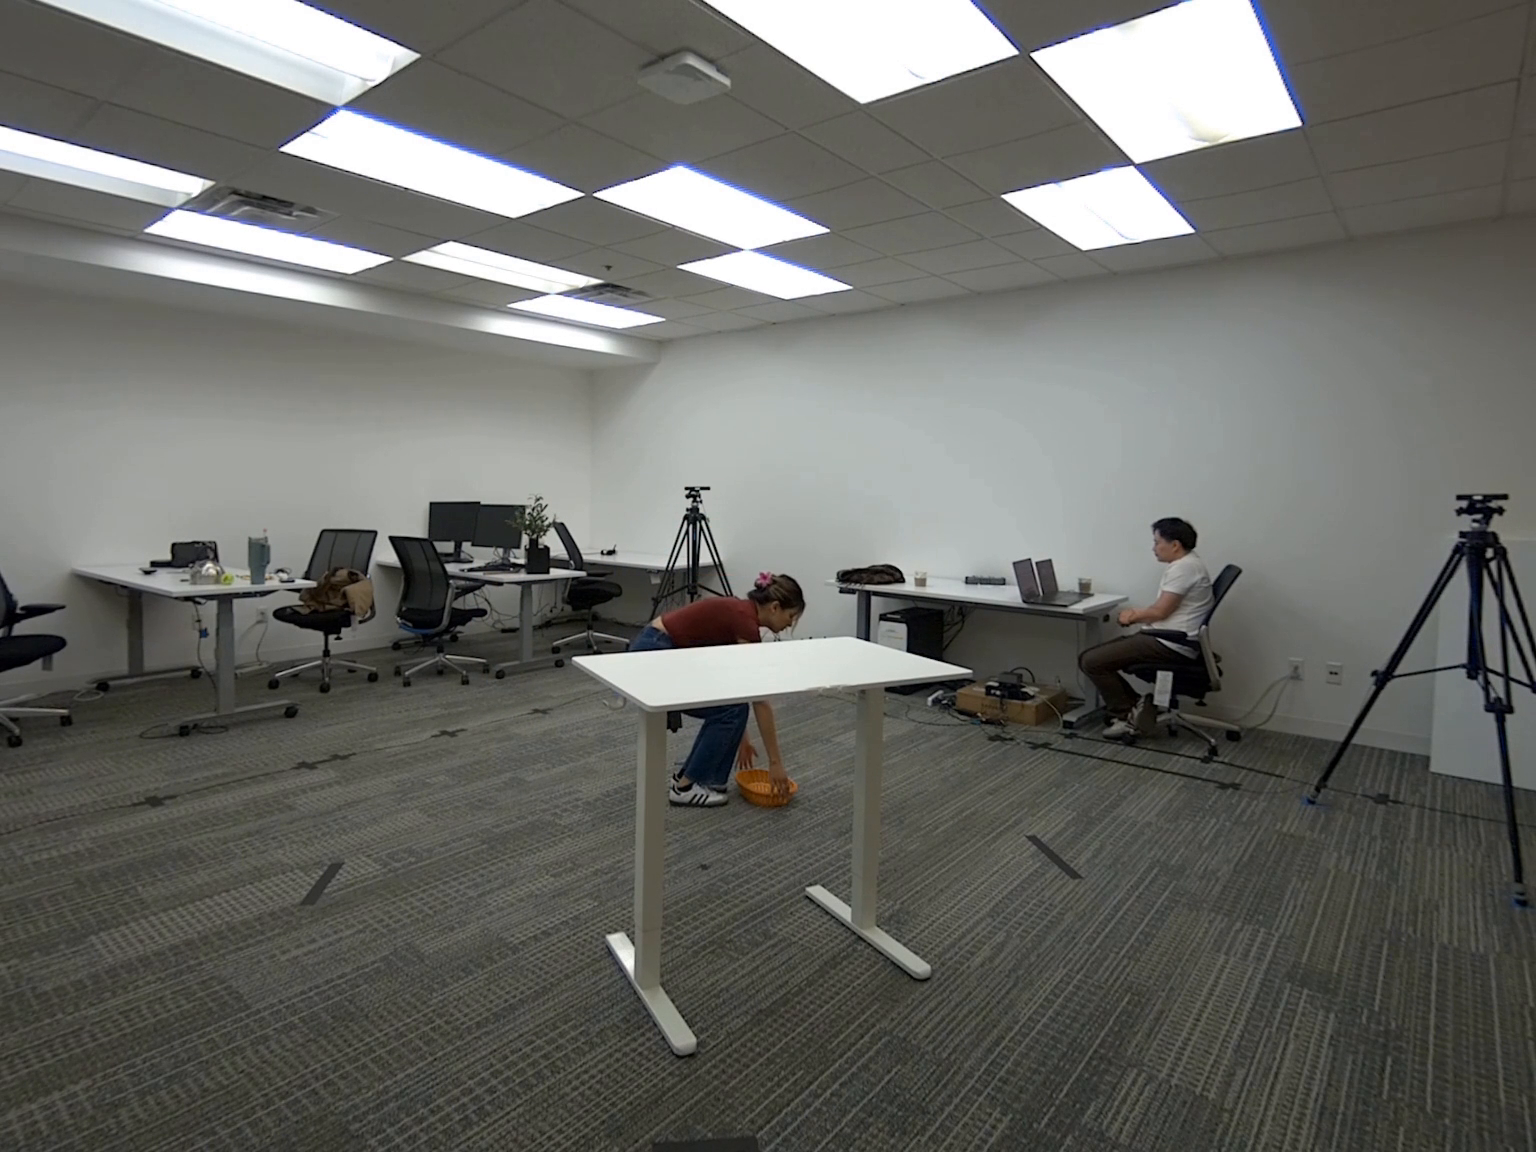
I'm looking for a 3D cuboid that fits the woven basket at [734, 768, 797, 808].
[{"bbox_3d":[-0.024,0.958,3.854,0.247,0.073,0.359,-1,6,-23],"label":"woven basket"}]
